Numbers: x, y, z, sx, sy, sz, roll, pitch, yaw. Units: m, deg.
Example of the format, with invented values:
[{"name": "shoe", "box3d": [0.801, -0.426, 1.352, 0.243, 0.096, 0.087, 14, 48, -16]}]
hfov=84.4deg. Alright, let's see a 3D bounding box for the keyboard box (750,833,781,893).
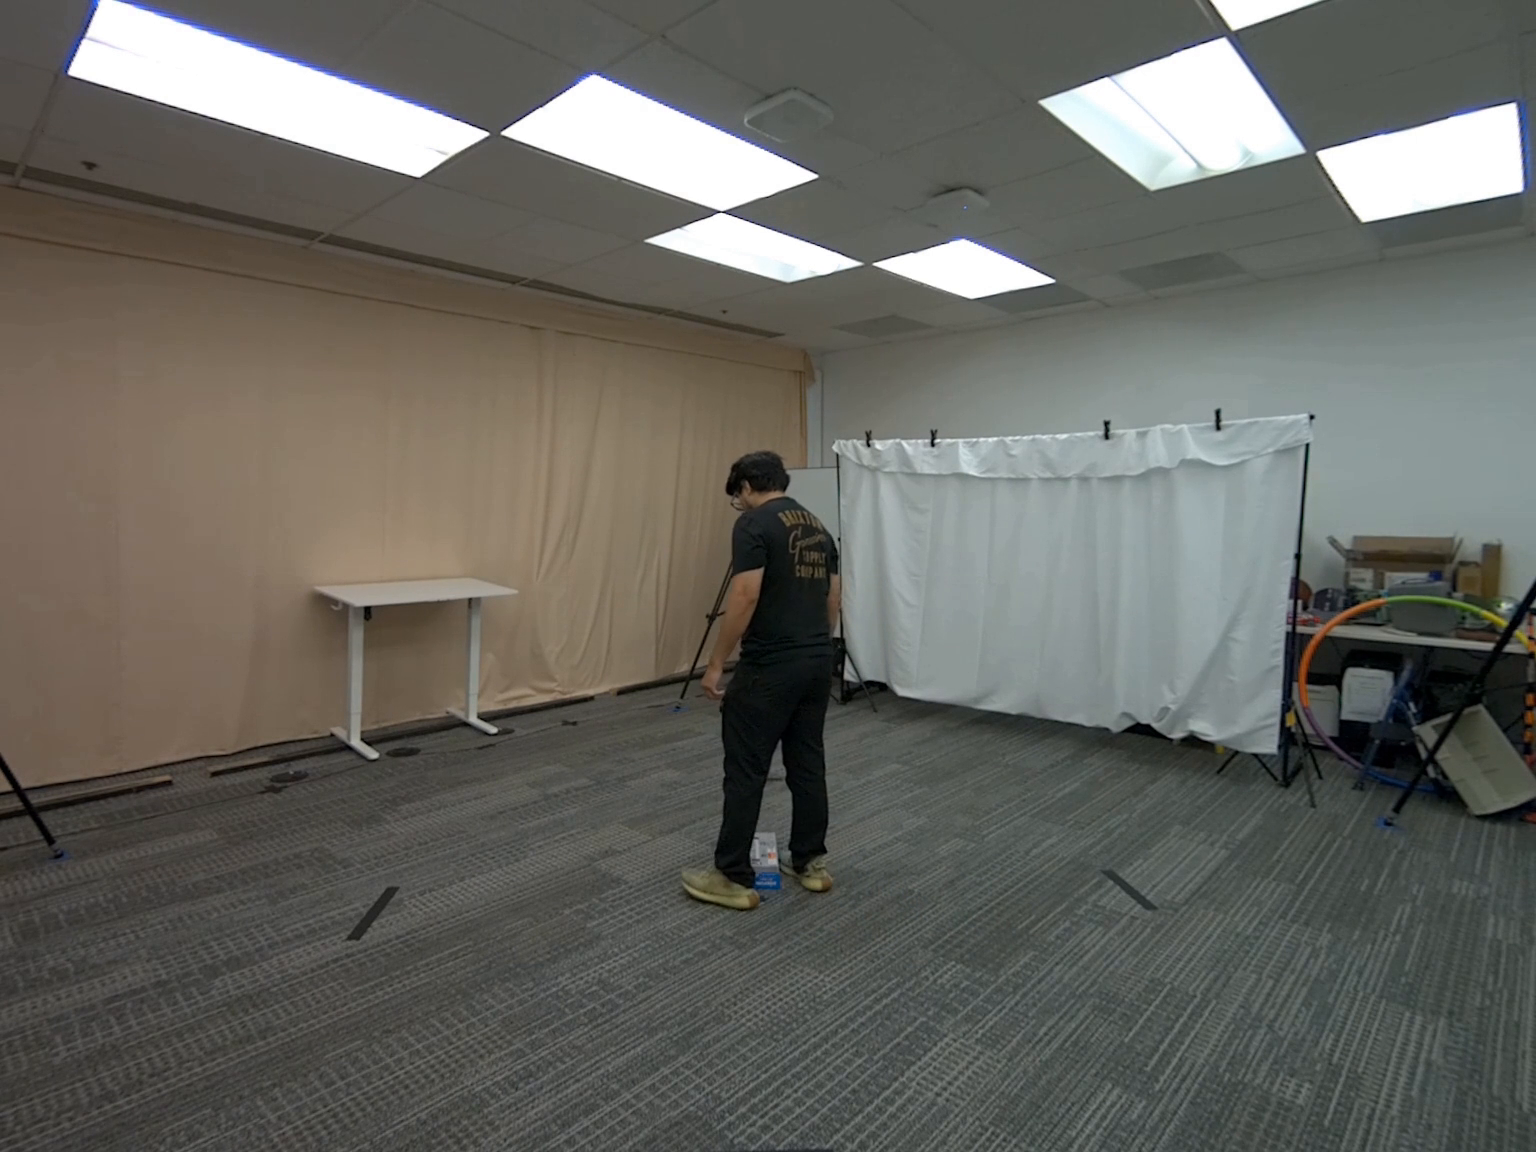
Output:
[{"name": "keyboard box", "box3d": [-0.048, 1.091, 3.274, 0.176, 0.059, 0.438, 0, 5, -1]}]
